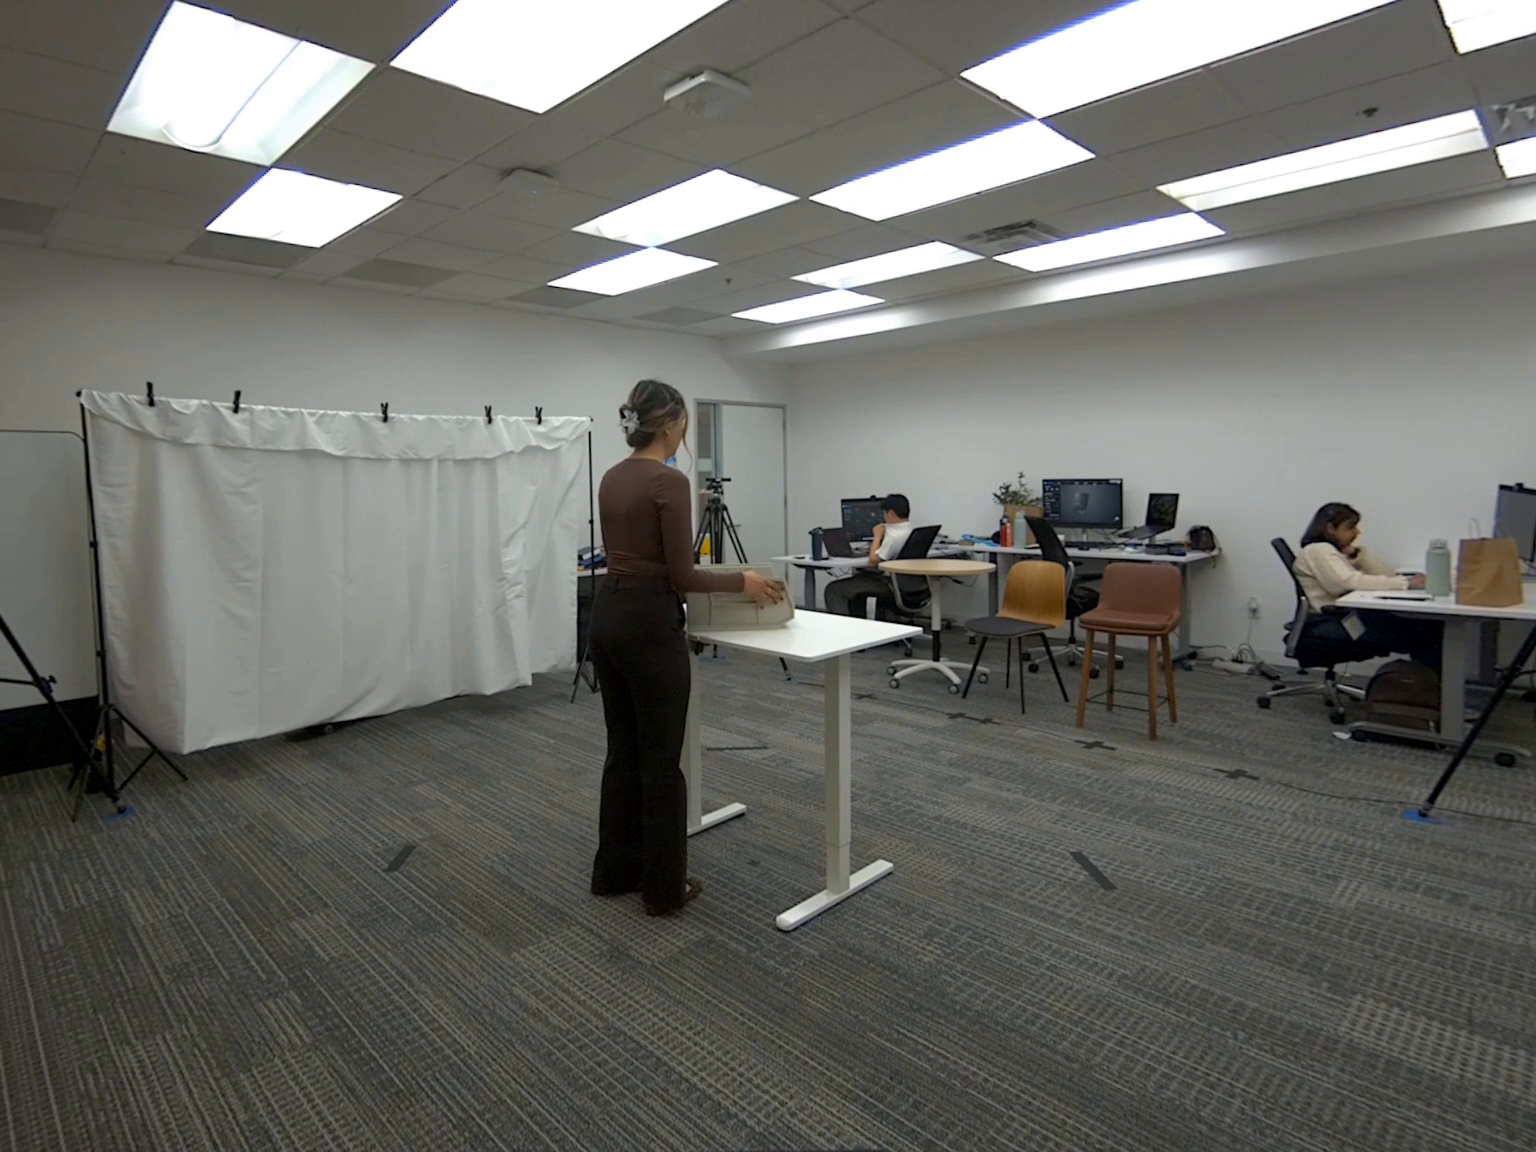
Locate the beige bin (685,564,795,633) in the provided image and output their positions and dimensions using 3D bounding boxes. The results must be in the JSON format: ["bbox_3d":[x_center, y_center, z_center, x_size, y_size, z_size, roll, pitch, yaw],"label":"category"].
[{"bbox_3d":[-0.126,0.072,3.075,0.378,0.188,0.424,-4,6,1],"label":"beige bin"}]
